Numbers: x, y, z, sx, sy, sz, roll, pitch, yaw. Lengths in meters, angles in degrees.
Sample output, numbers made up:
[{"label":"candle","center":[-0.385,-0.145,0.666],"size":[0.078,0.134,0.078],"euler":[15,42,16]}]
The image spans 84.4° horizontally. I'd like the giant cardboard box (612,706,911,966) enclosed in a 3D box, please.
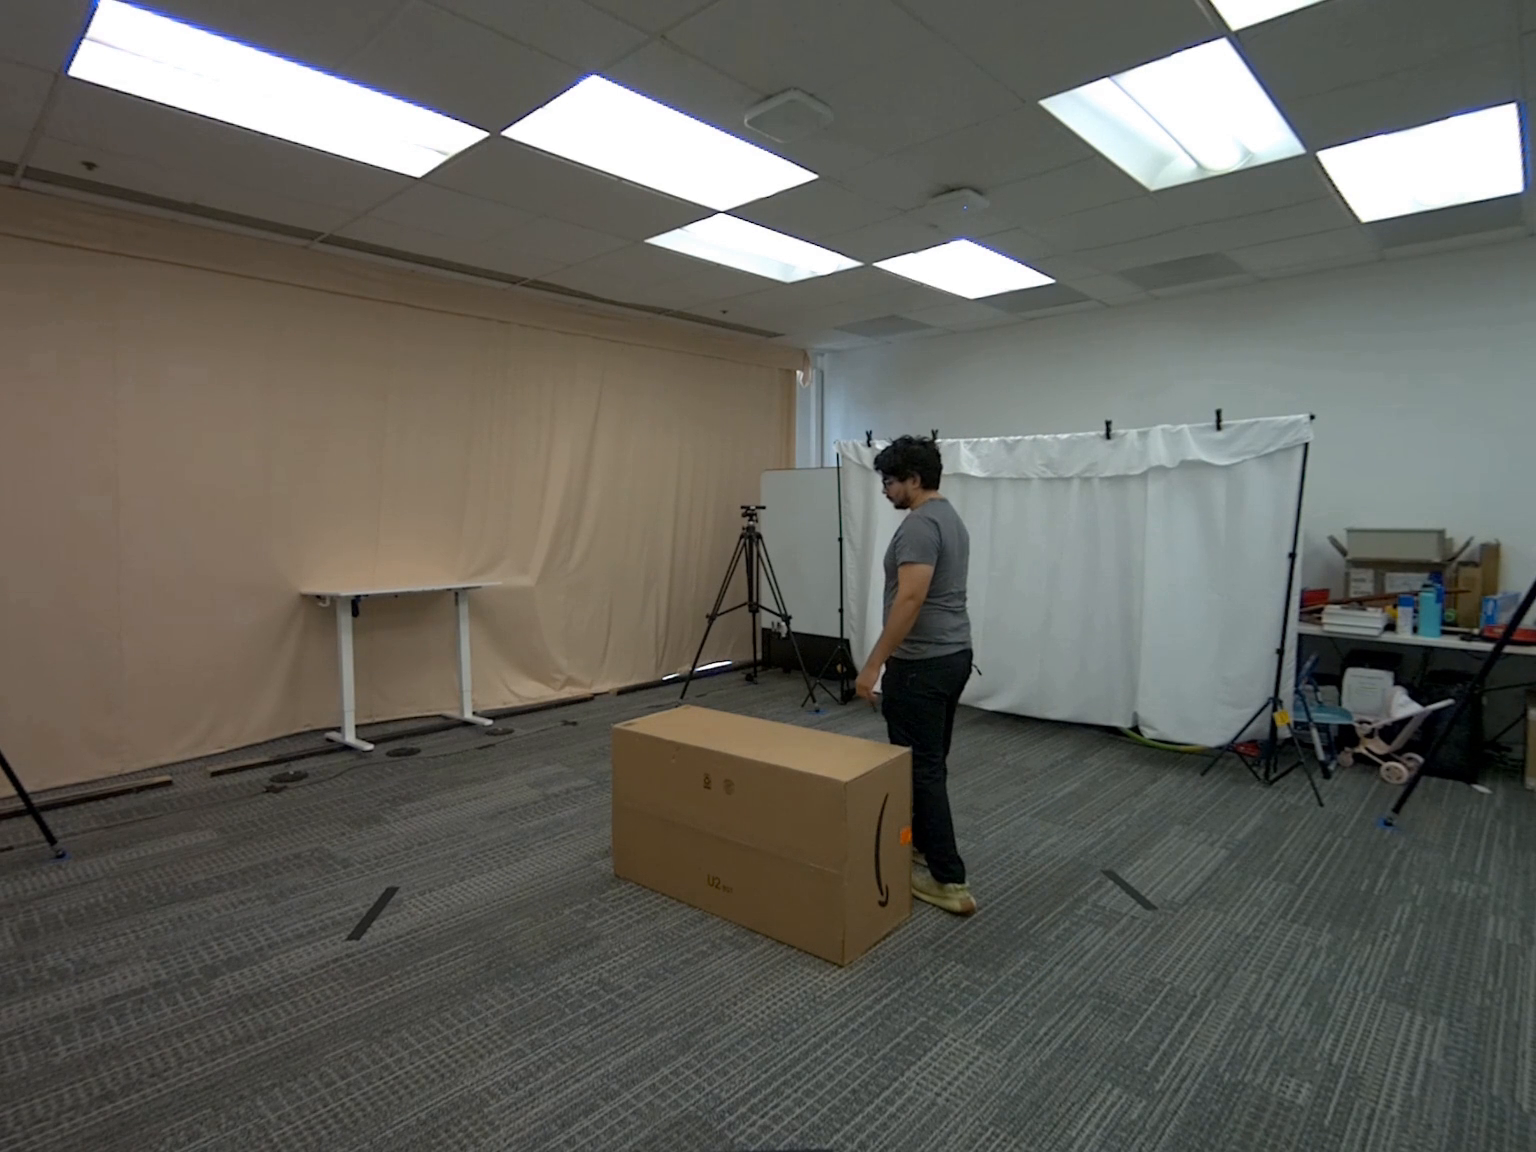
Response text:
[{"label":"giant cardboard box","center":[-0.049,0.853,3.002],"size":[1.059,0.576,0.413],"euler":[3,4,39]}]
